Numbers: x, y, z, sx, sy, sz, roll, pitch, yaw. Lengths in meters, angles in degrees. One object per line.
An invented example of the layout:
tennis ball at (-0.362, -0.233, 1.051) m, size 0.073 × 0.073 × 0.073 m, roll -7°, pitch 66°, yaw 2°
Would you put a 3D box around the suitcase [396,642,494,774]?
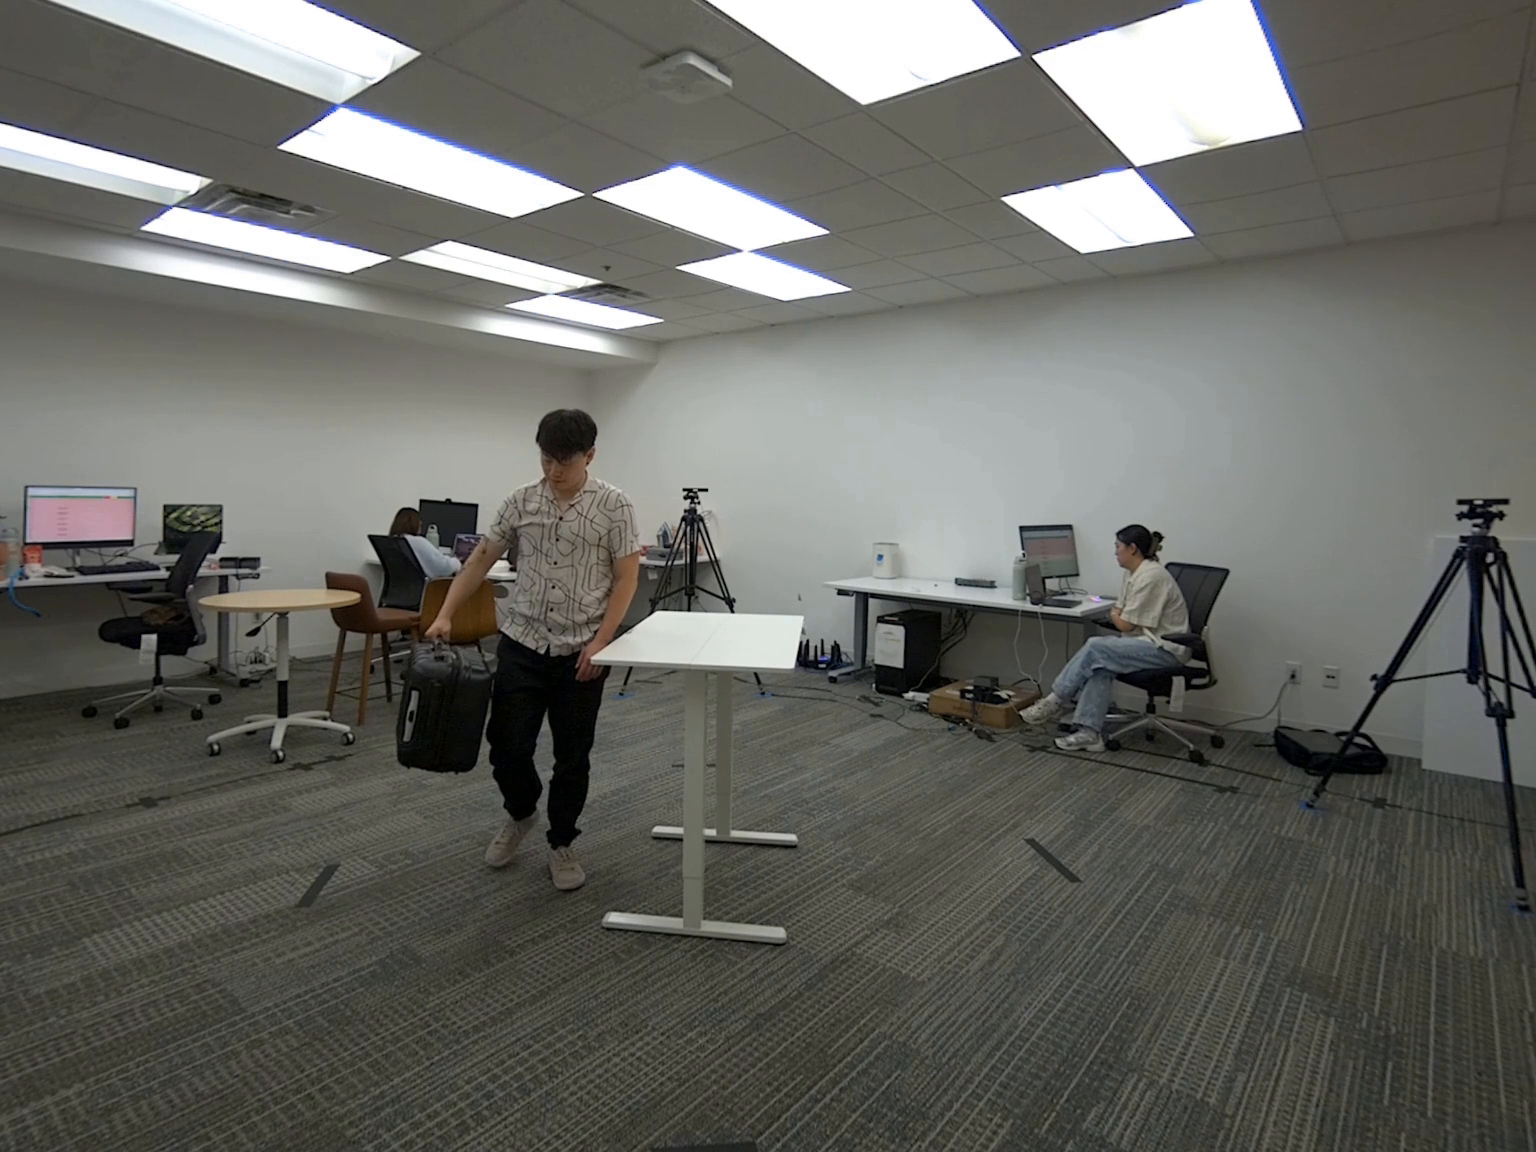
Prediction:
suitcase at (-1.121, 0.426, 2.902) m, size 0.242 × 0.376 × 0.563 m, roll 11°, pitch -1°, yaw -25°
